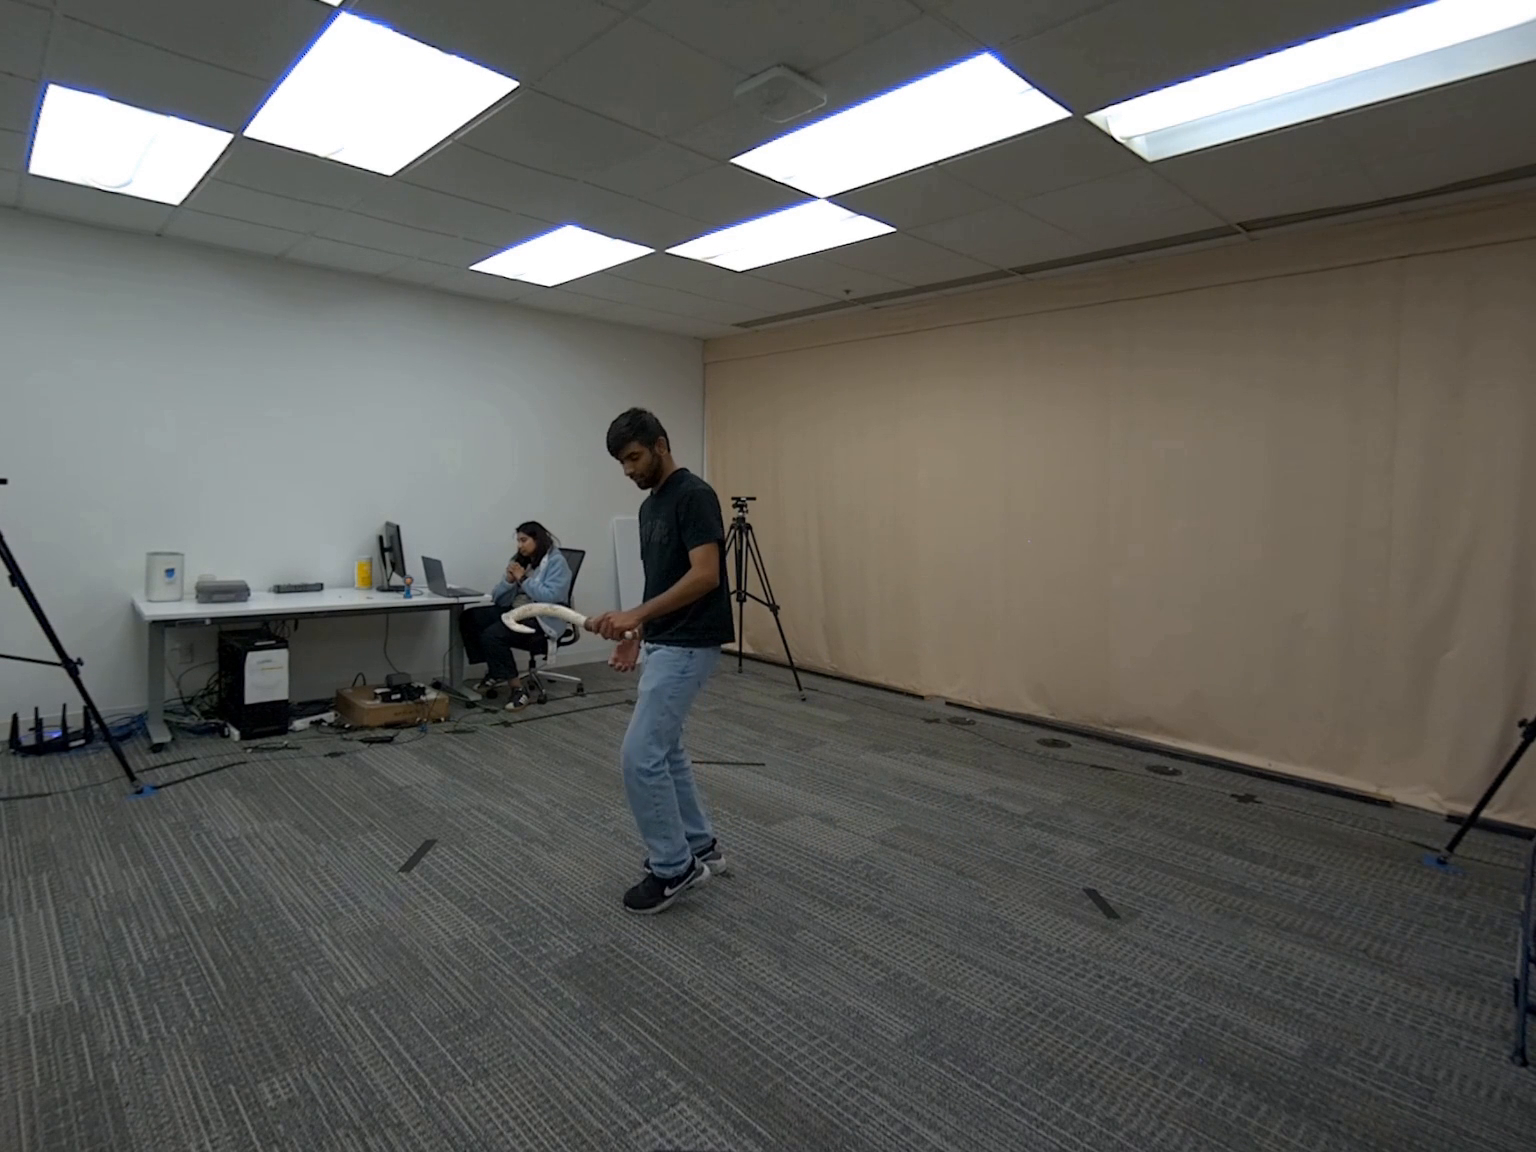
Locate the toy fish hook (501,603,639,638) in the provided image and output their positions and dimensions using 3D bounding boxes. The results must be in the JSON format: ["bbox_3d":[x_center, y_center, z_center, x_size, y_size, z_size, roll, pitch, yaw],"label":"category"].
[{"bbox_3d":[-0.653,0.172,2.695,0.519,0.047,0.222,10,25,33],"label":"toy fish hook"}]
